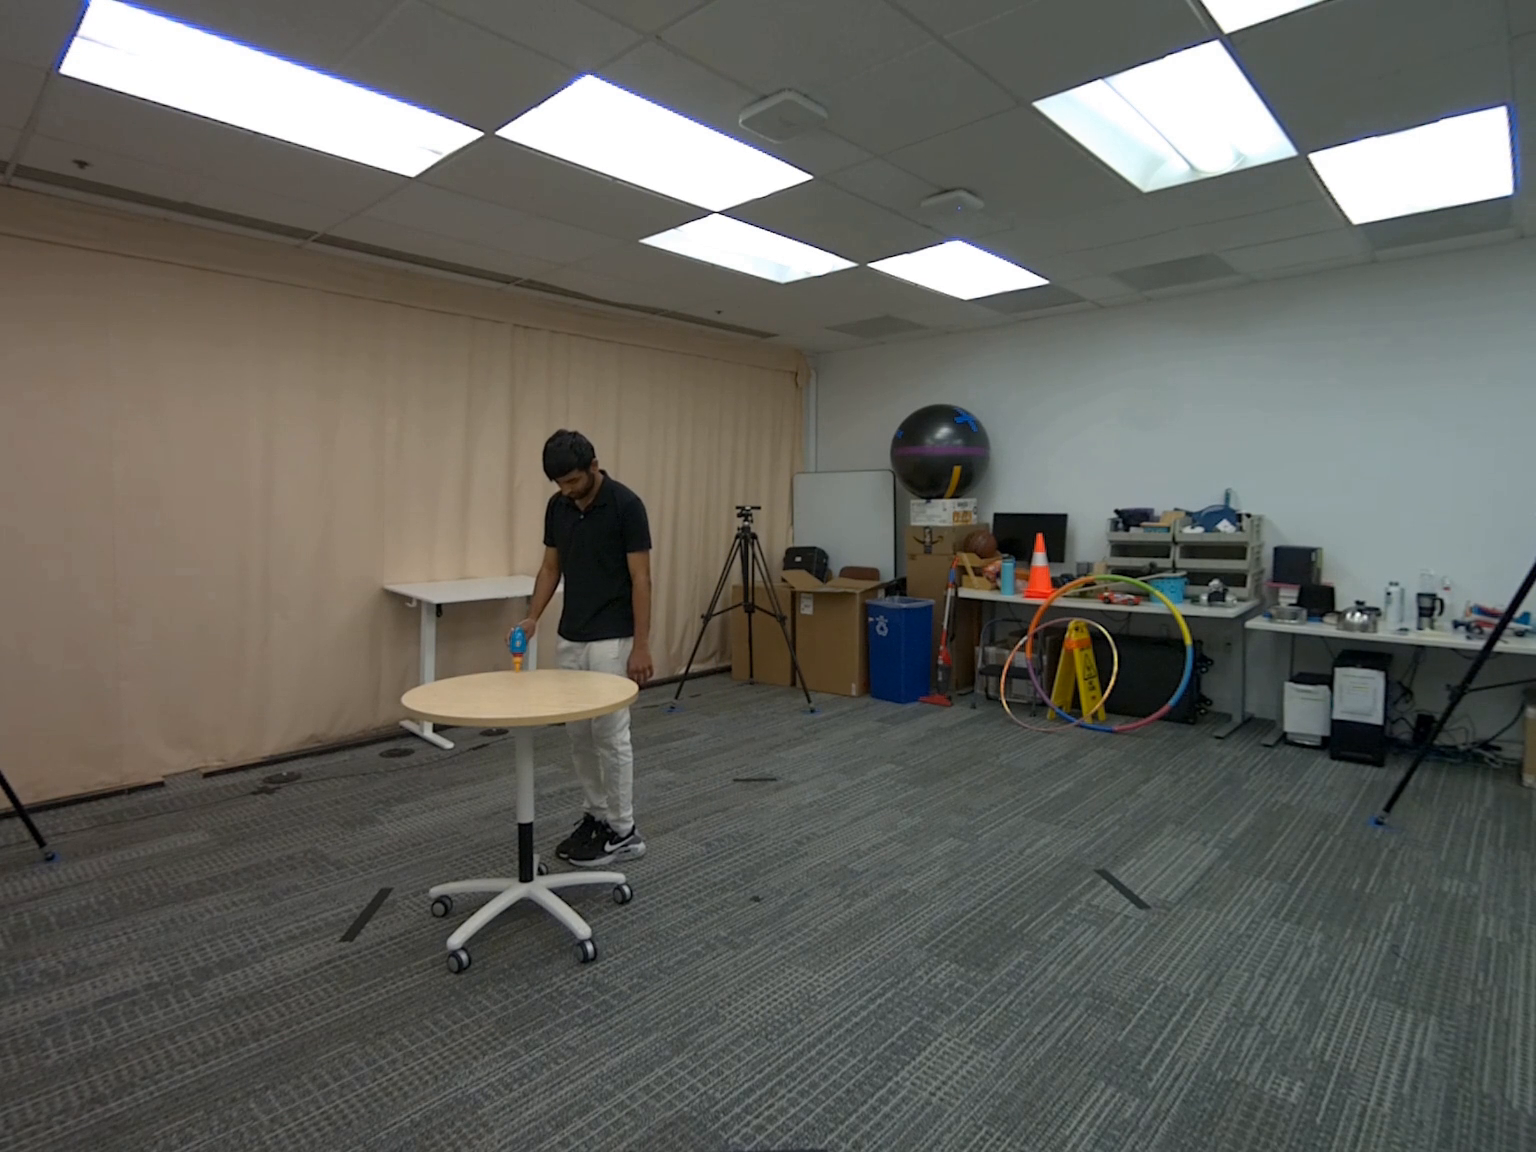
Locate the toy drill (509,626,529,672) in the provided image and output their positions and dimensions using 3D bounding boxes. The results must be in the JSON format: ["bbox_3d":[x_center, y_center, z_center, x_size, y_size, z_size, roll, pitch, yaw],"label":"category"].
[{"bbox_3d":[-0.943,0.273,3.184,0.060,0.171,0.146,-1,-13,-13],"label":"toy drill"}]
